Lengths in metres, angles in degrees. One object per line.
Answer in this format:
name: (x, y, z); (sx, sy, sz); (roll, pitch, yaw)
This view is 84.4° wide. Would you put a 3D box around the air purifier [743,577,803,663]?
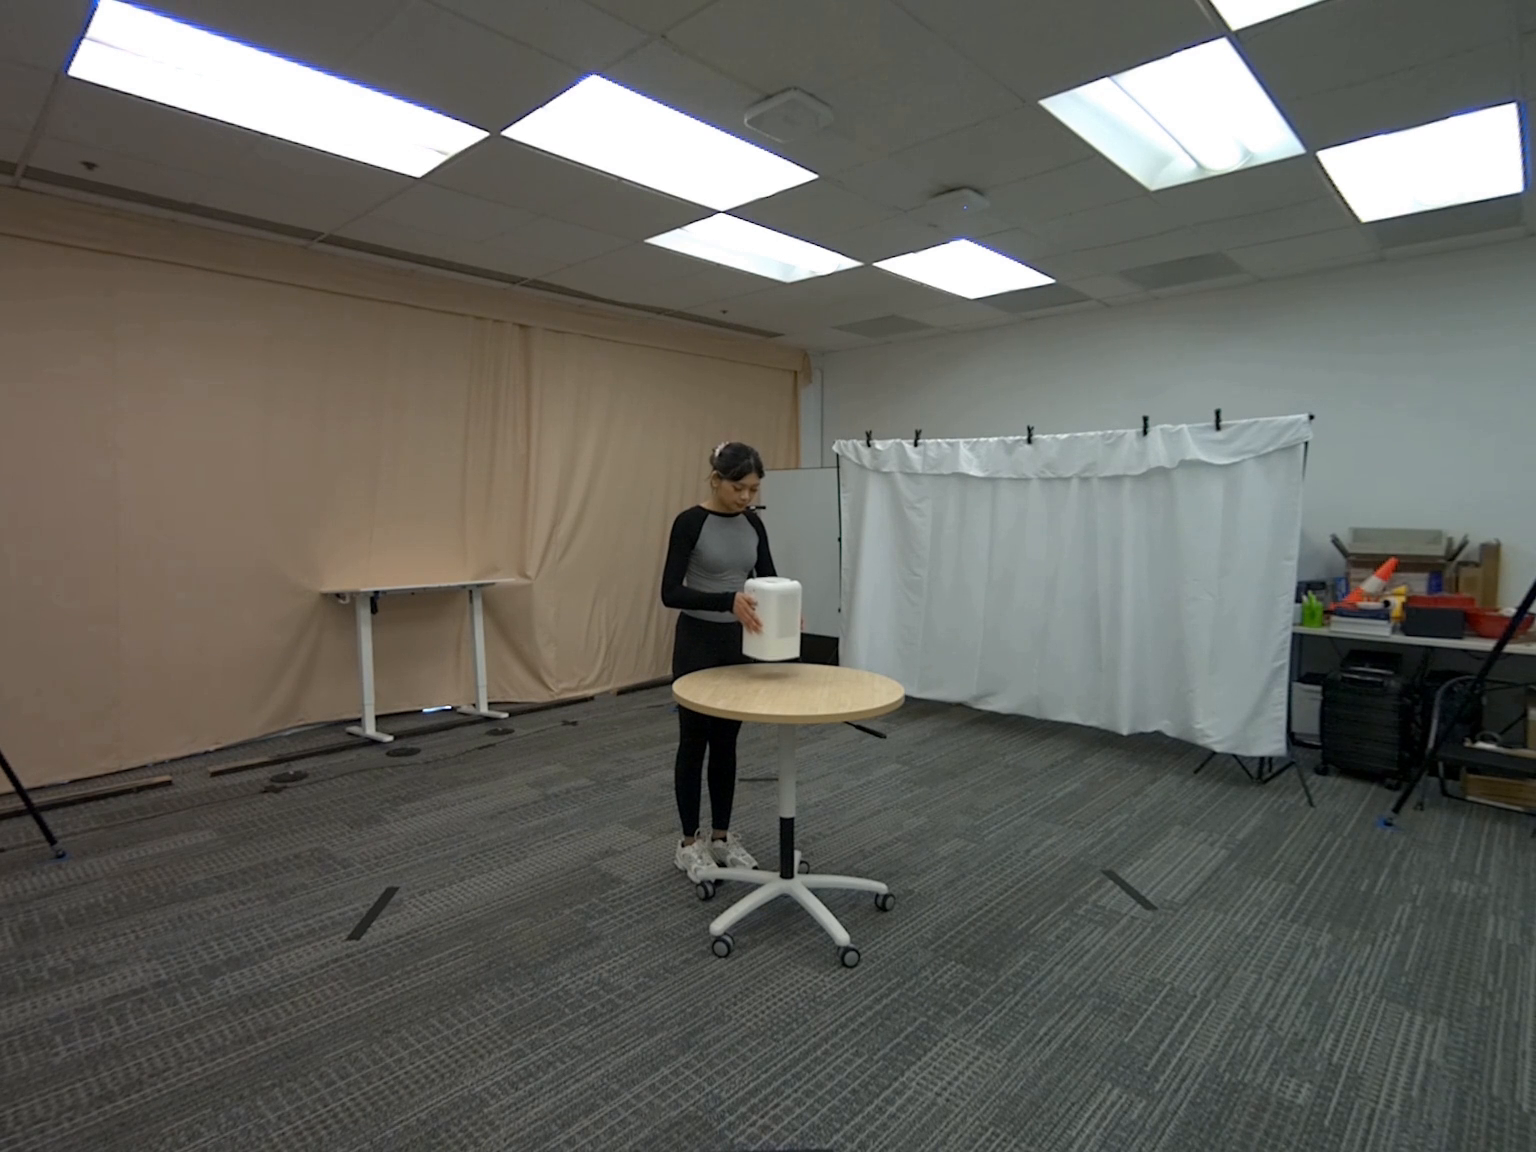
air purifier: (0.018, 0.144, 2.926); (0.177, 0.264, 0.166); (8, 8, 44)
